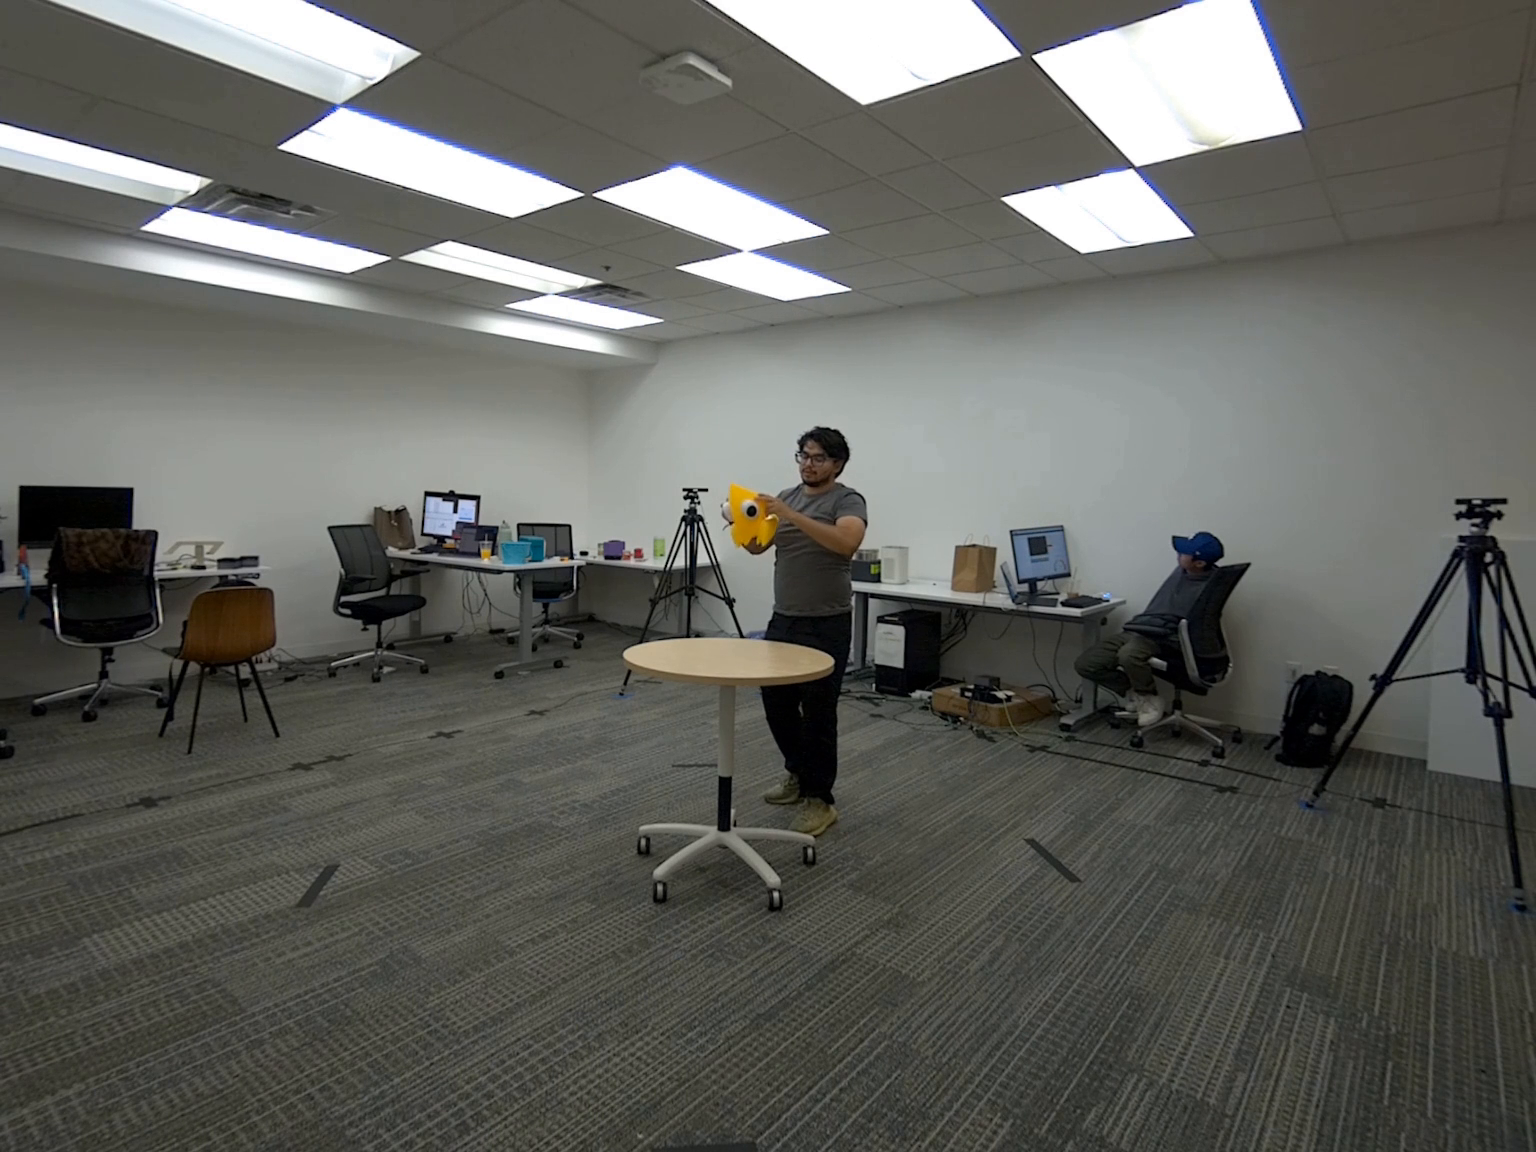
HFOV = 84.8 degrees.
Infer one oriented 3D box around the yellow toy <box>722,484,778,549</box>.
[{"bbox_3d":[-0.111,-0.259,3.400,0.211,0.195,0.221,-3,-36,37],"label":"yellow toy"}]
